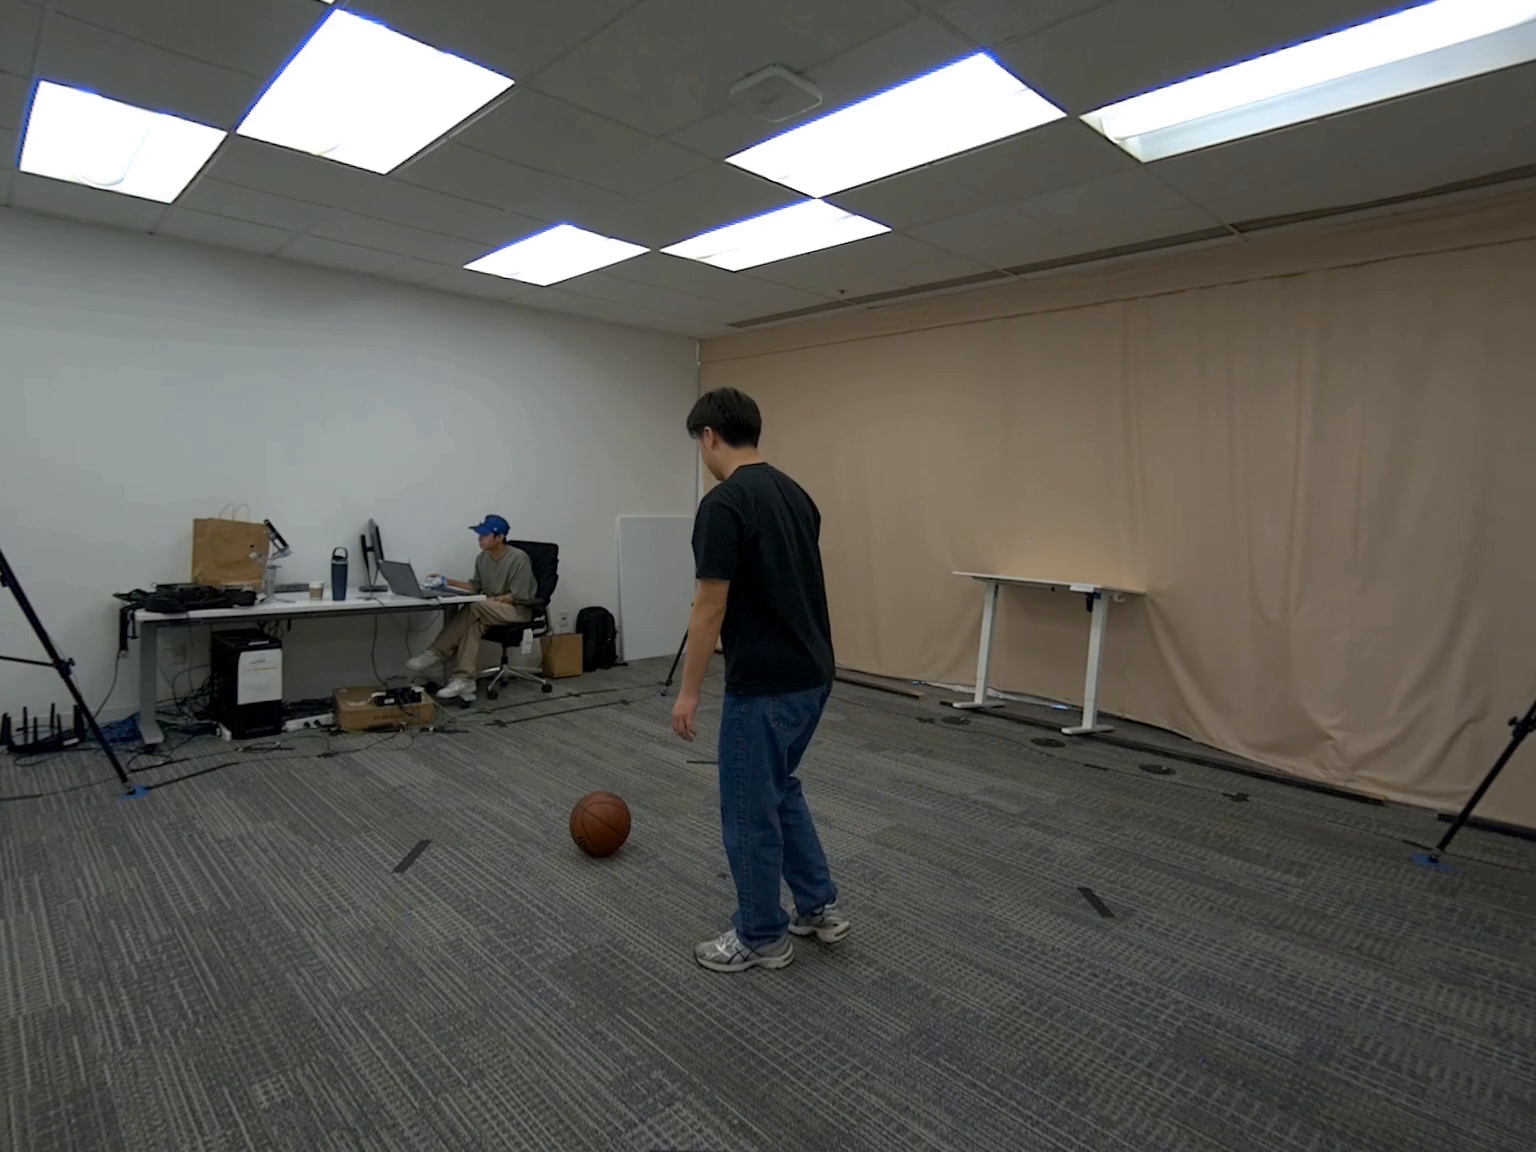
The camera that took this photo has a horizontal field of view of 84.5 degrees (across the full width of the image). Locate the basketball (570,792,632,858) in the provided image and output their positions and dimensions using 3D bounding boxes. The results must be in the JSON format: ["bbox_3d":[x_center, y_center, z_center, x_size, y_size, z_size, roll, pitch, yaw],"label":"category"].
[{"bbox_3d":[-0.657,0.958,3.272,0.236,0.235,0.237,1,4,-1],"label":"basketball"}]
